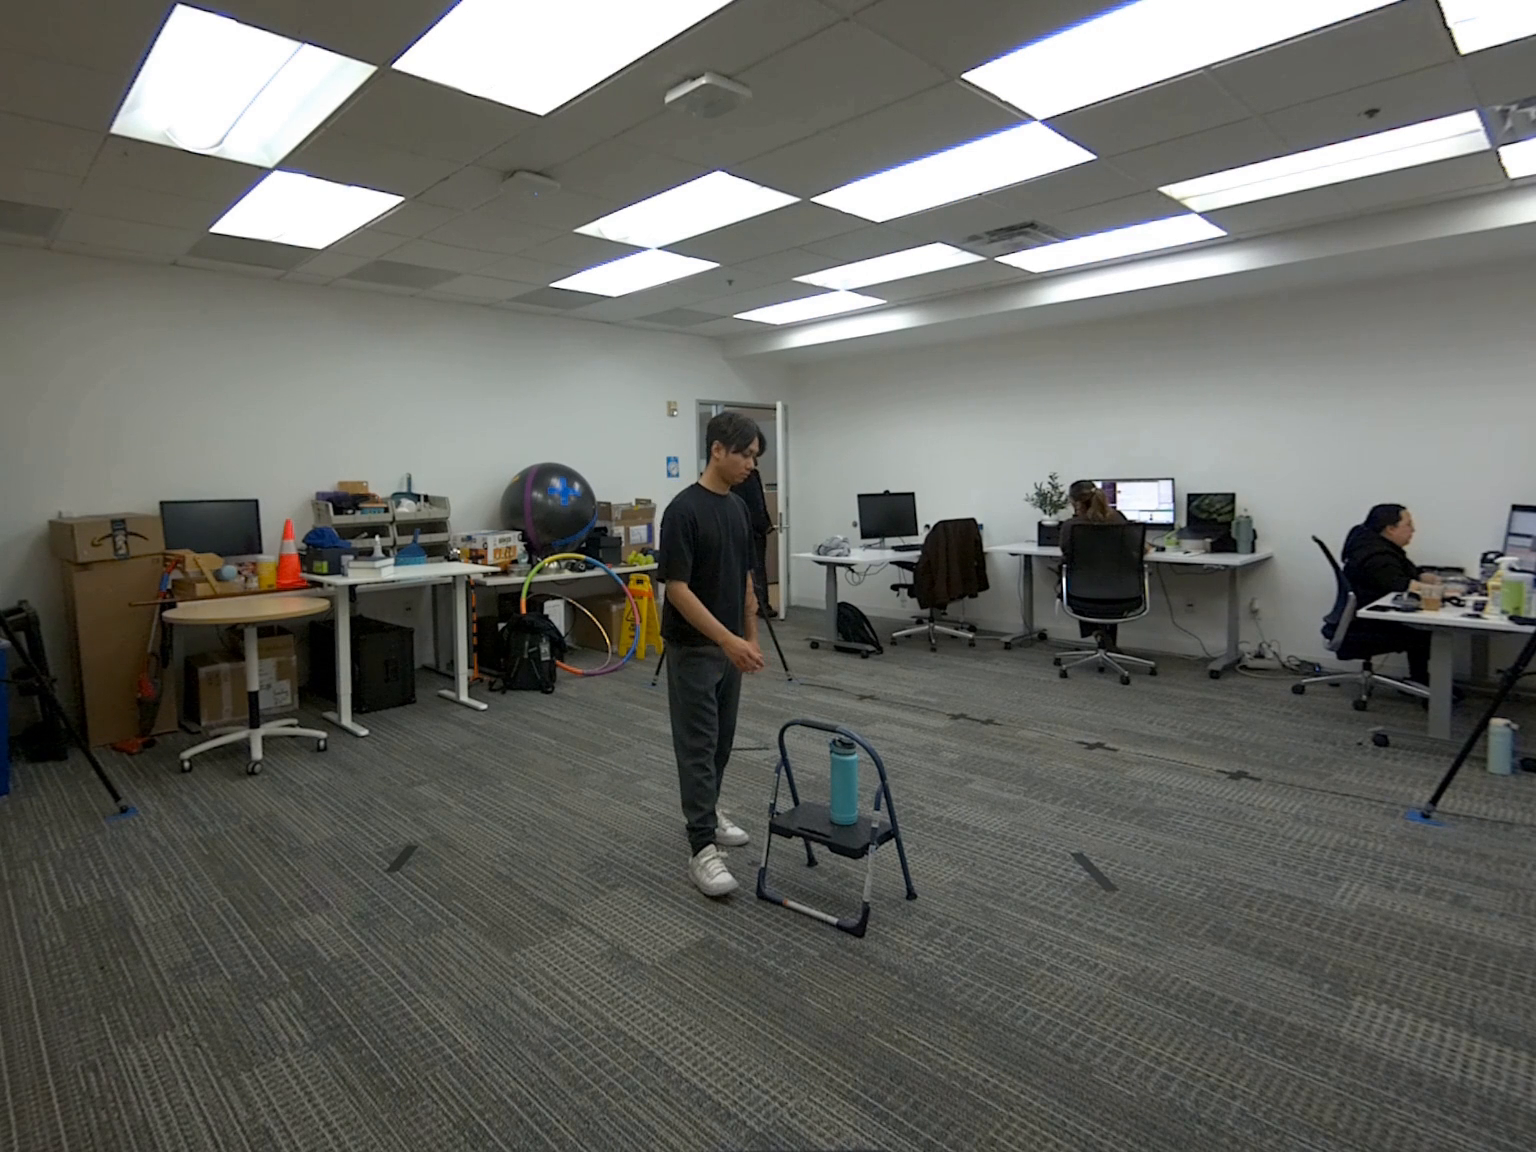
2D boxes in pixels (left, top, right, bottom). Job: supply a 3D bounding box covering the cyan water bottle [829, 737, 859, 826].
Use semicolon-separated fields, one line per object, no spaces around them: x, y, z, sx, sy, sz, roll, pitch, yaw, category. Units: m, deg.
0.255;0.670;2.828;0.092;0.282;0.093;0;3;-2;cyan water bottle
